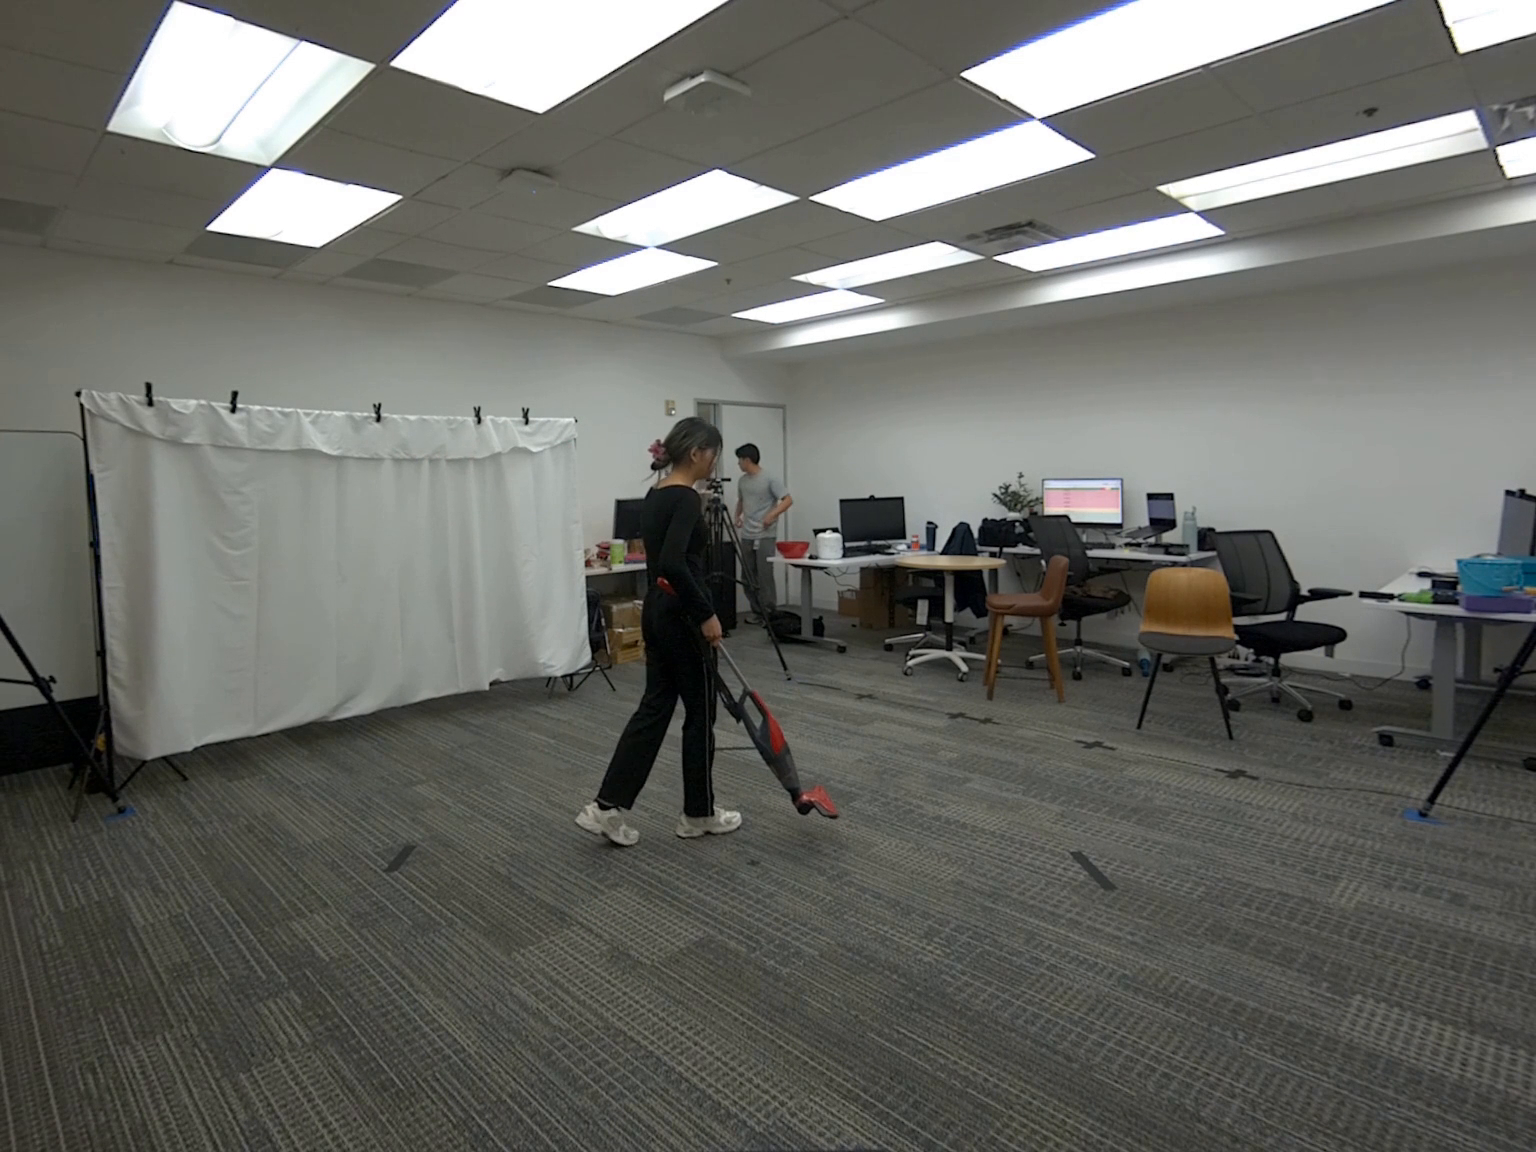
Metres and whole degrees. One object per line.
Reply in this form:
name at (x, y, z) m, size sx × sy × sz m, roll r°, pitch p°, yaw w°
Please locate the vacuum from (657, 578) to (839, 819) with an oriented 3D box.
vacuum at (-0.091, 0.458, 3.179) m, size 0.144 × 1.035 × 0.256 m, roll -32°, pitch 10°, yaw -1°
